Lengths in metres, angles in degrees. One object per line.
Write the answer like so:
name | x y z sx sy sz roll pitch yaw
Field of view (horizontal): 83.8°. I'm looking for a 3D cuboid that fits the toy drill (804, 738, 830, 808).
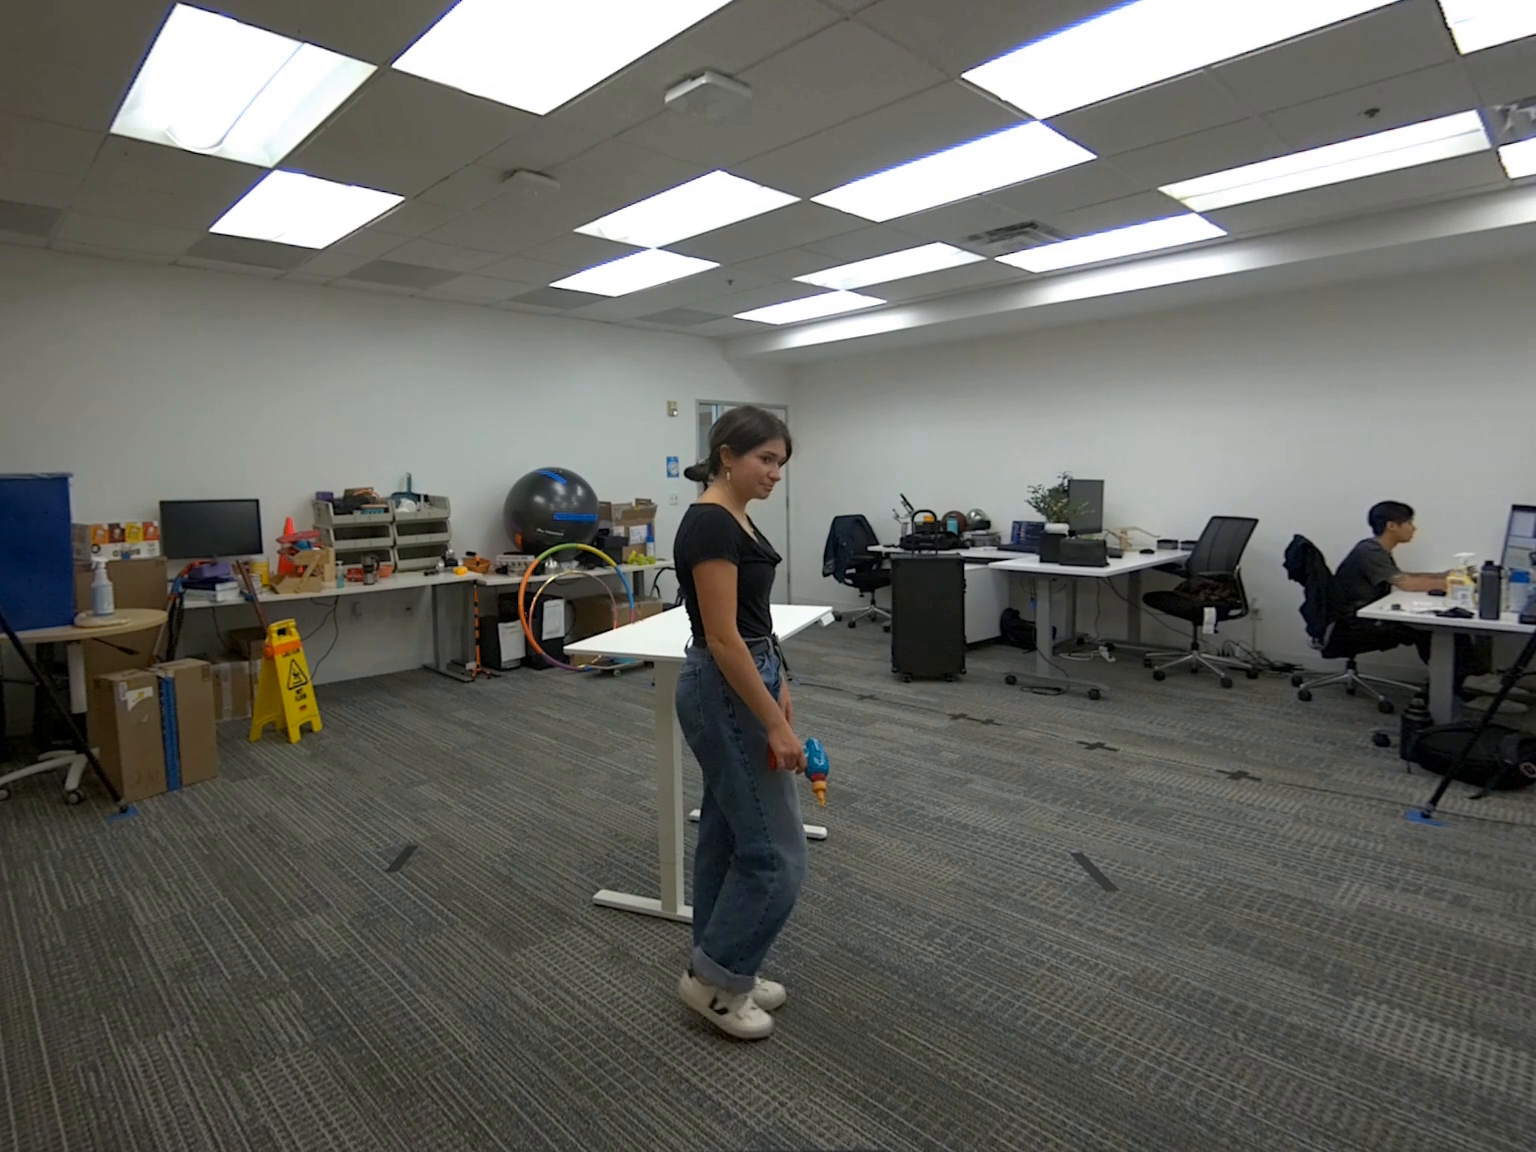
toy drill | 0.071 0.470 2.029 0.144 0.175 0.060 -1 -38 -15
